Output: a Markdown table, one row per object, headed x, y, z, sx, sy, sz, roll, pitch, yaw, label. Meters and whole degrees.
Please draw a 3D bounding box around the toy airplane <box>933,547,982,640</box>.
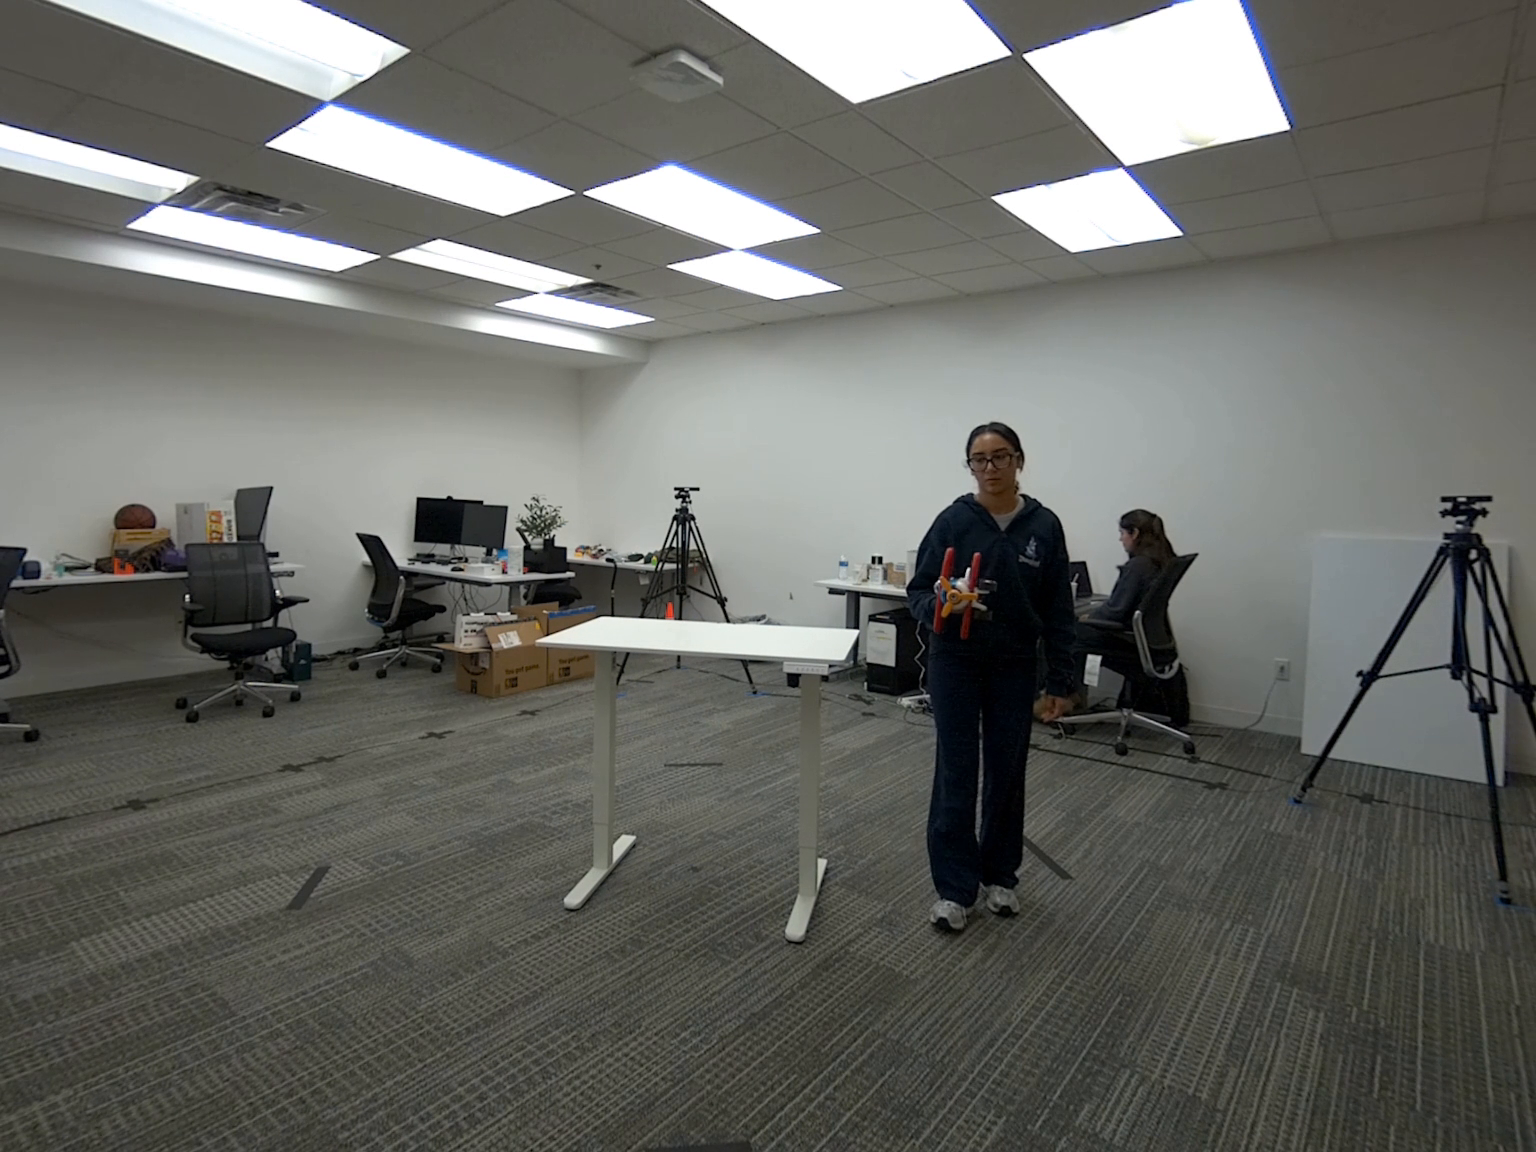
| x | y | z | sx | sy | sz | roll | pitch | yaw | label |
| --- | --- | --- | --- | --- | --- | --- | --- | --- | --- |
| 0.577 | 0.062 | 2.531 | 0.158 | 0.255 | 0.253 | 7 | -20 | 6 | toy airplane |
